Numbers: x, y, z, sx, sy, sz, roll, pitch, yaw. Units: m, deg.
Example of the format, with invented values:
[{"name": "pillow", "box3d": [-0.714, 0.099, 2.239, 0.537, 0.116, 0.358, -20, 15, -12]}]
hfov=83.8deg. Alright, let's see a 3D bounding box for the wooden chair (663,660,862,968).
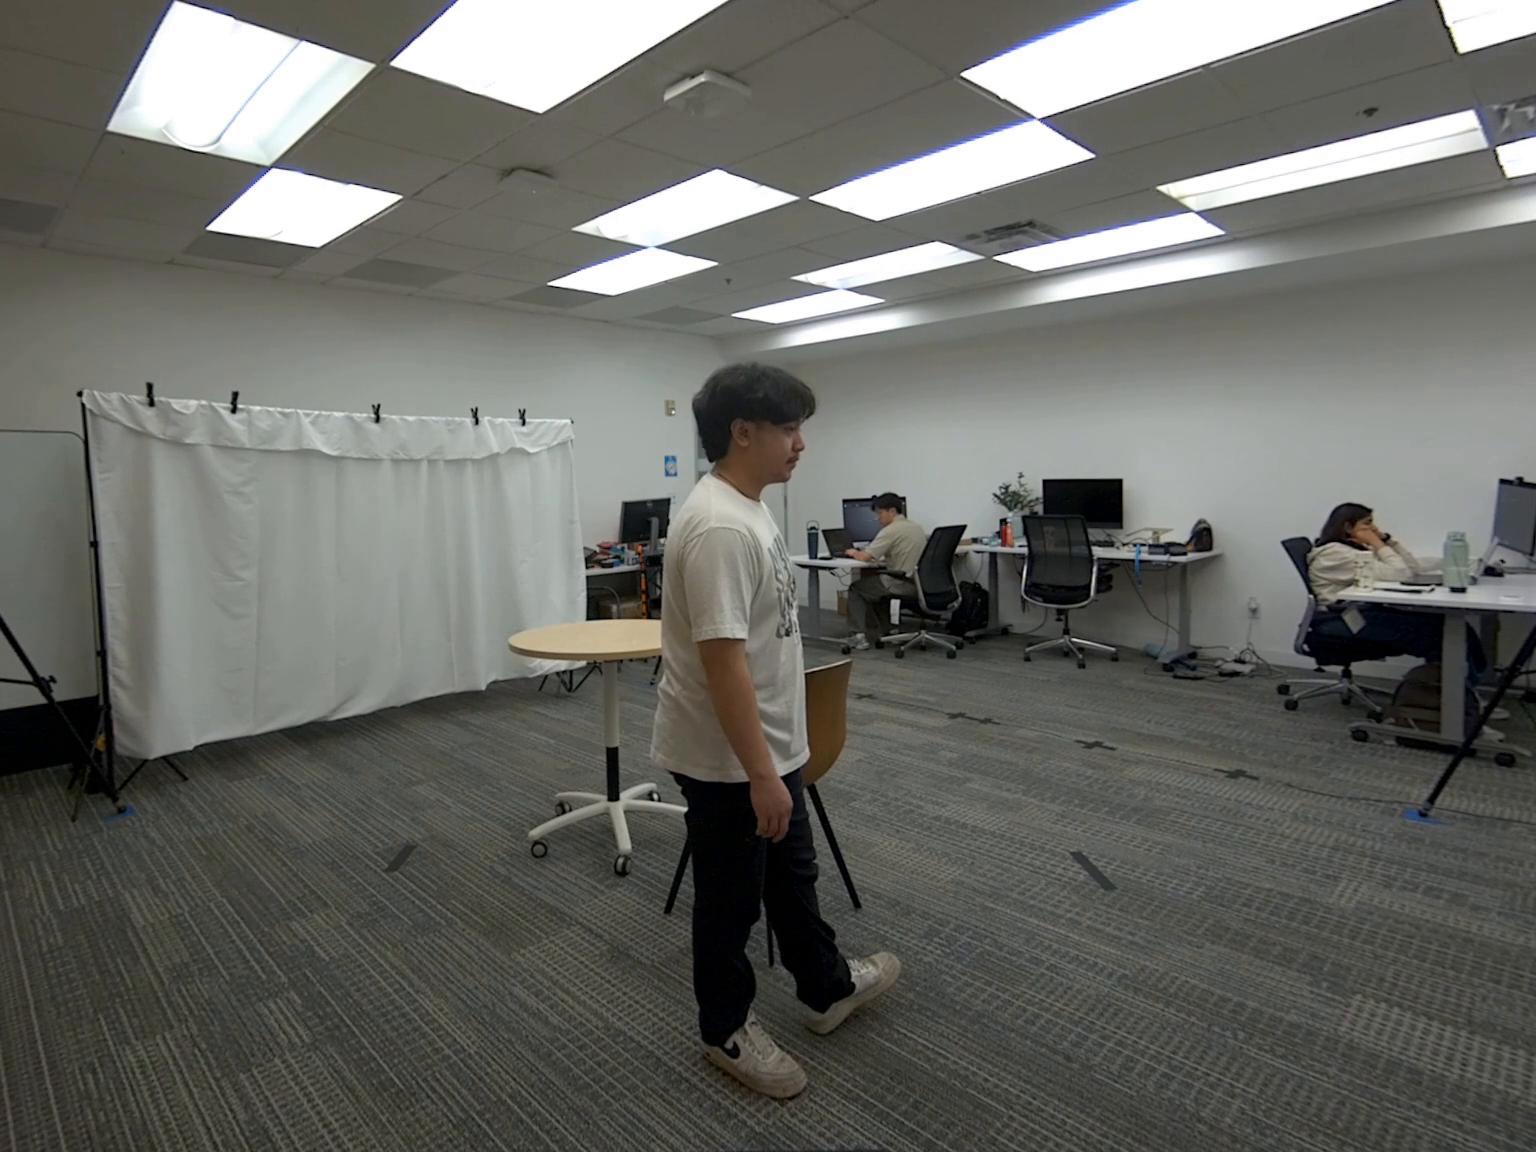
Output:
[{"name": "wooden chair", "box3d": [-0.023, 0.657, 2.728, 0.540, 0.871, 0.466, 9, 10, 41]}]
